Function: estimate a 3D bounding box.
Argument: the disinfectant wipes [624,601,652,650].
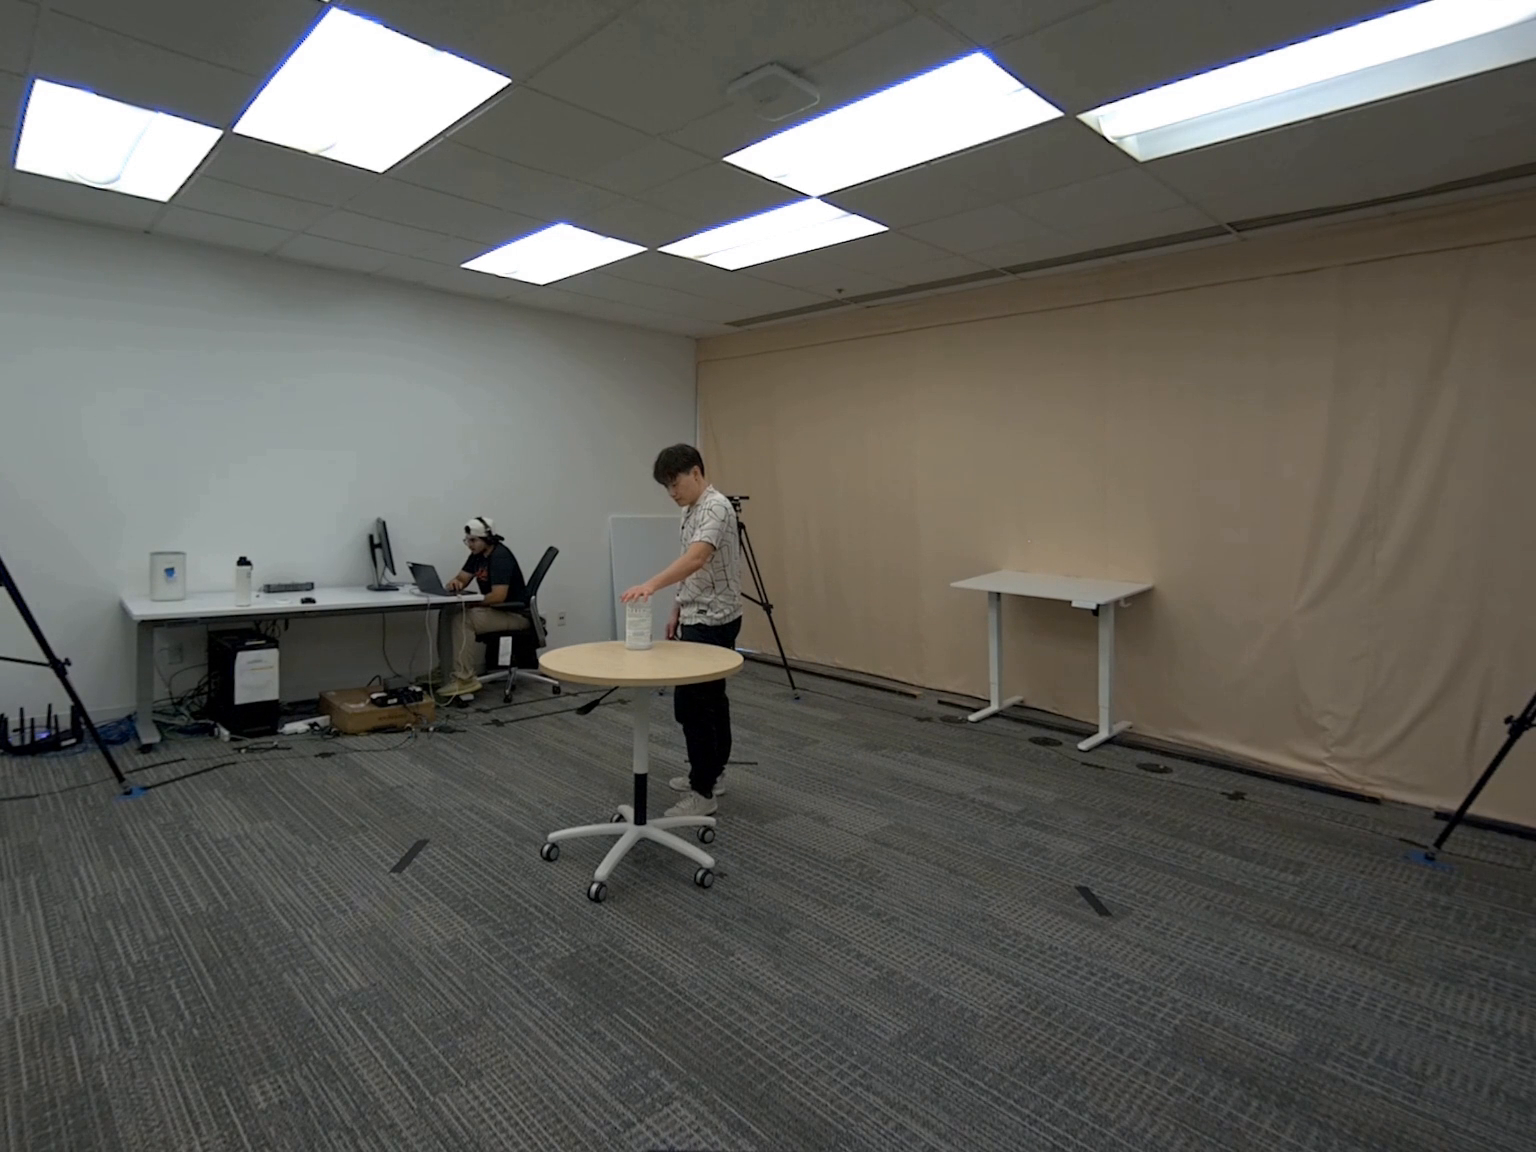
[{"bbox_3d":[-0.530,0.187,3.373,0.118,0.217,0.118,1,3,-1],"label":"disinfectant wipes"}]
